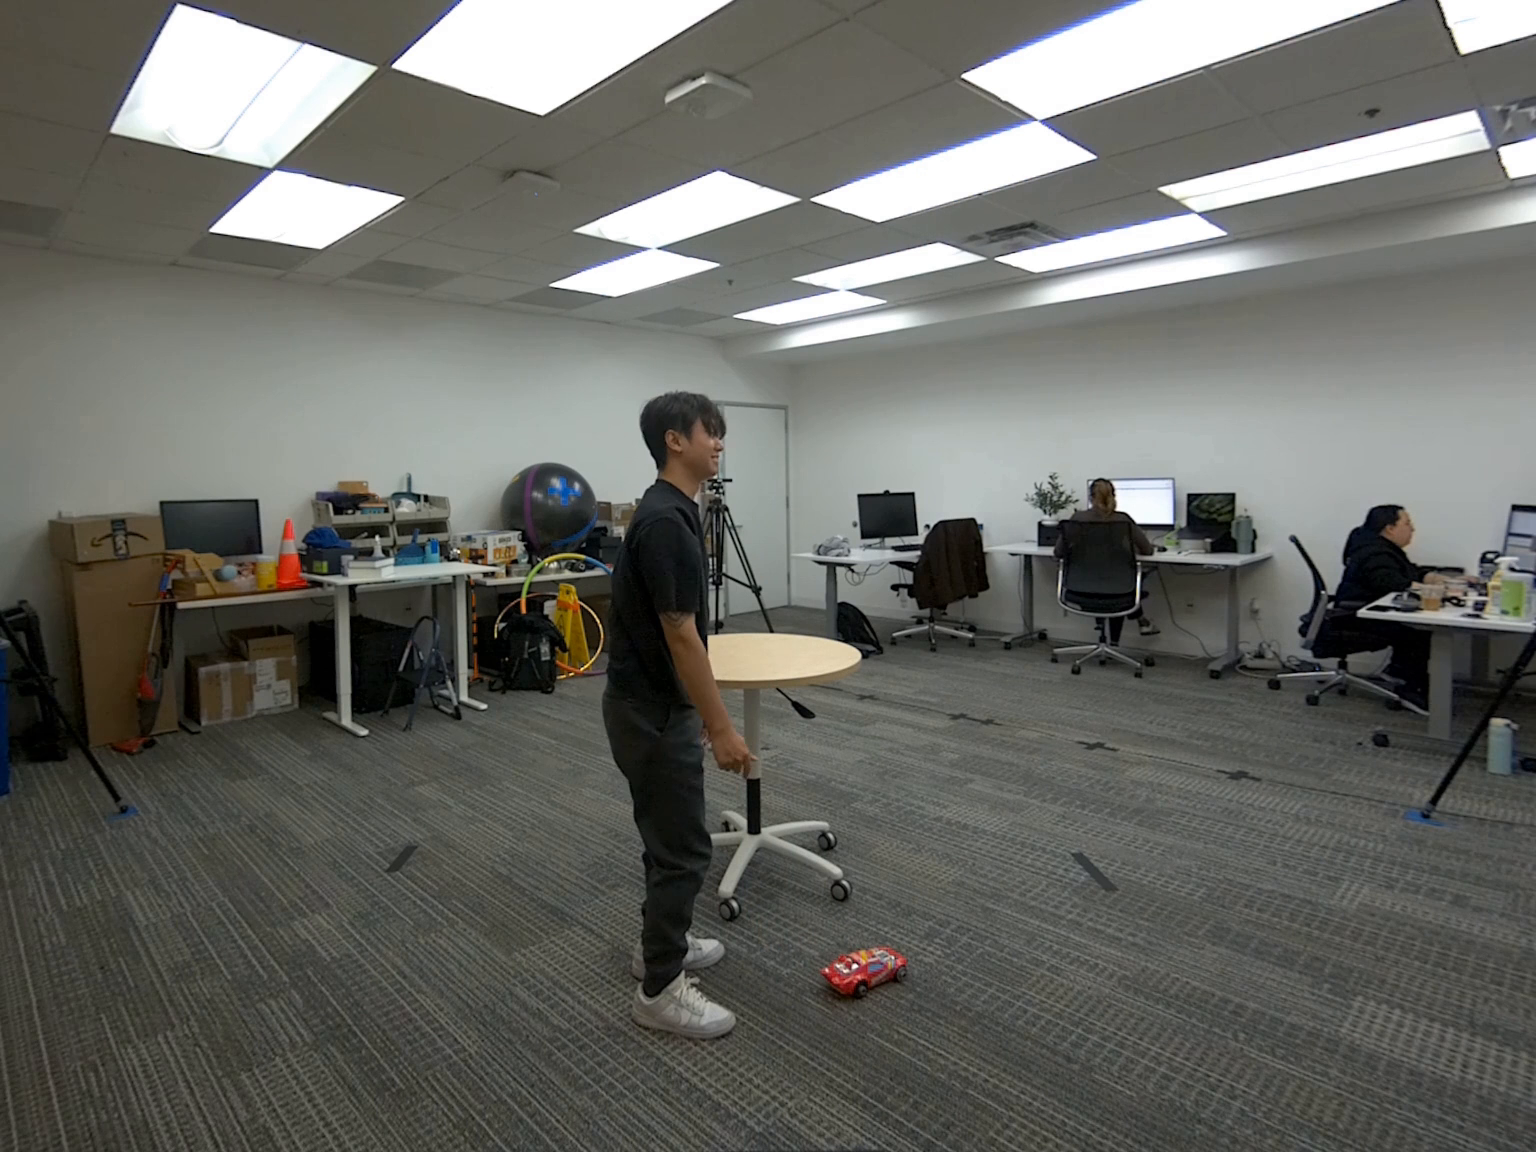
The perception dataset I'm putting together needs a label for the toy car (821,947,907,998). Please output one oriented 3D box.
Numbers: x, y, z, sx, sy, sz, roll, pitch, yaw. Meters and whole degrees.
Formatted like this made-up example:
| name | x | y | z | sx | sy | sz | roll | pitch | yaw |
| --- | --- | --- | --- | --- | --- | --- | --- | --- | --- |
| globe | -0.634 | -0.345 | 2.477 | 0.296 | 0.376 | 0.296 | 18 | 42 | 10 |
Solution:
| name | x | y | z | sx | sy | sz | roll | pitch | yaw |
| --- | --- | --- | --- | --- | --- | --- | --- | --- | --- |
| toy car | 0.274 | 1.098 | 2.359 | 0.247 | 0.083 | 0.134 | 7 | 2 | -32 |
